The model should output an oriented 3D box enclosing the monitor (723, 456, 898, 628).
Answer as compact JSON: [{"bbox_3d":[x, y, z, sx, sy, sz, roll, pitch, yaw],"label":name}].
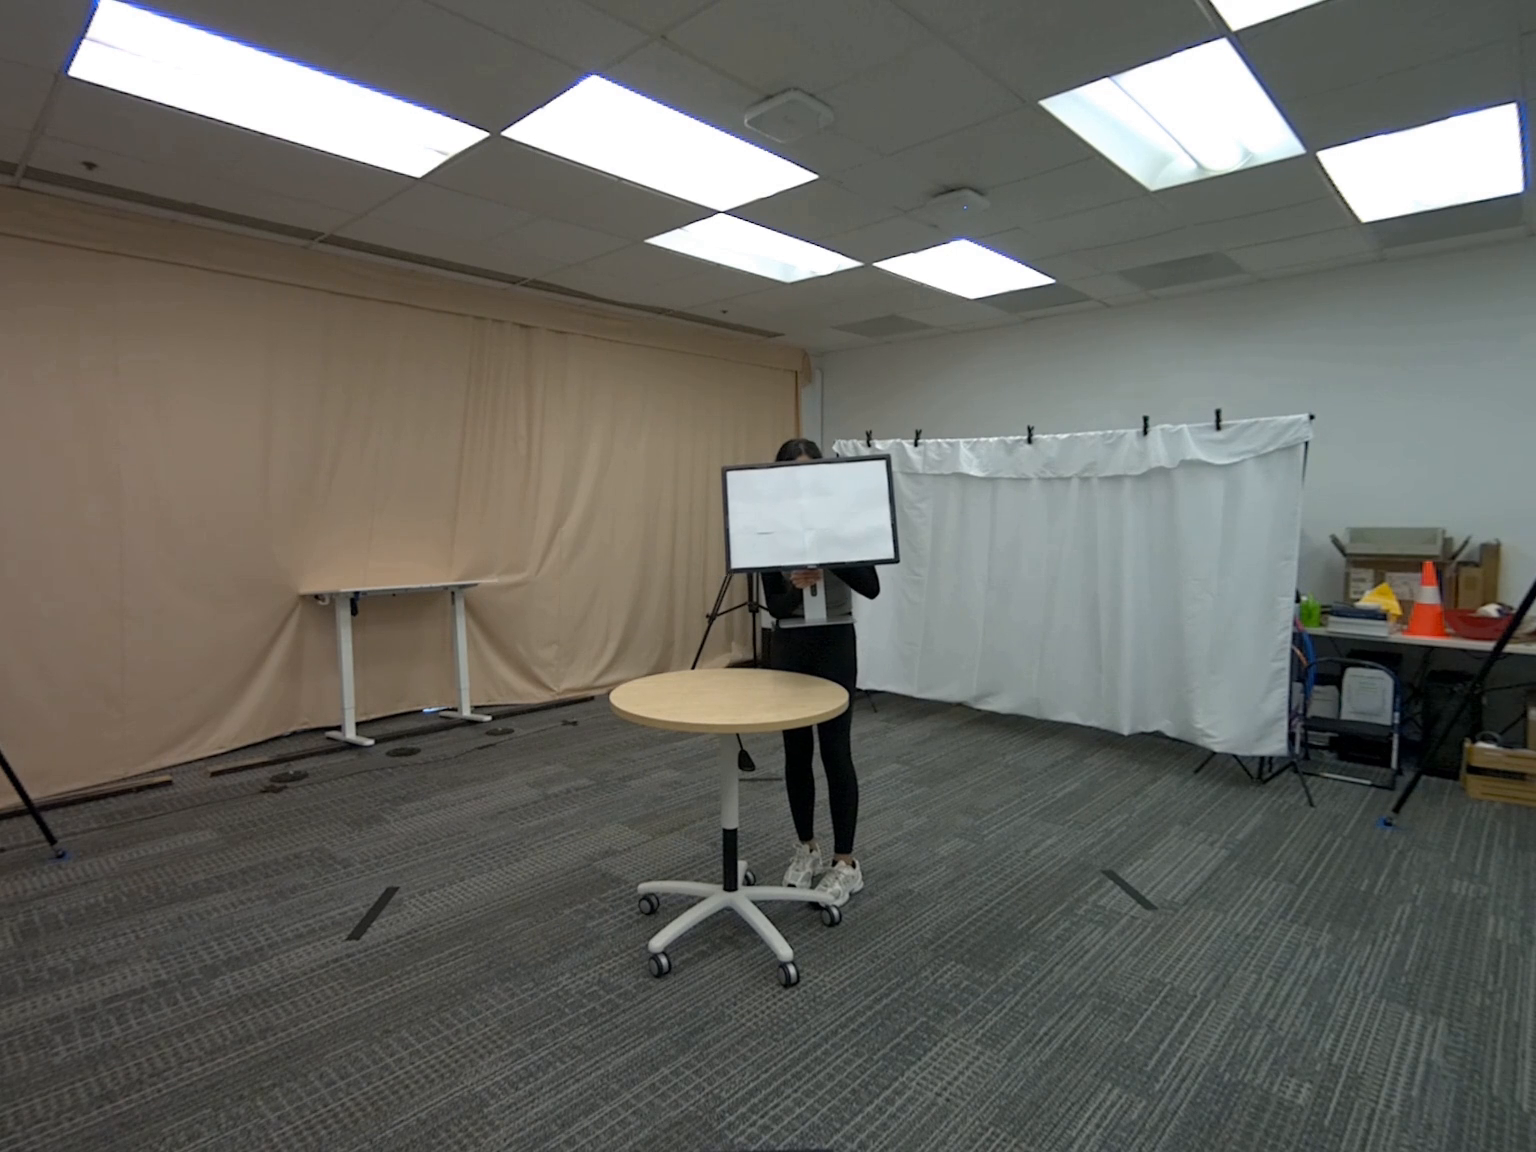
[{"bbox_3d":[0.148,-0.100,2.788,0.541,0.522,0.186,-3,1,3],"label":"monitor"}]
